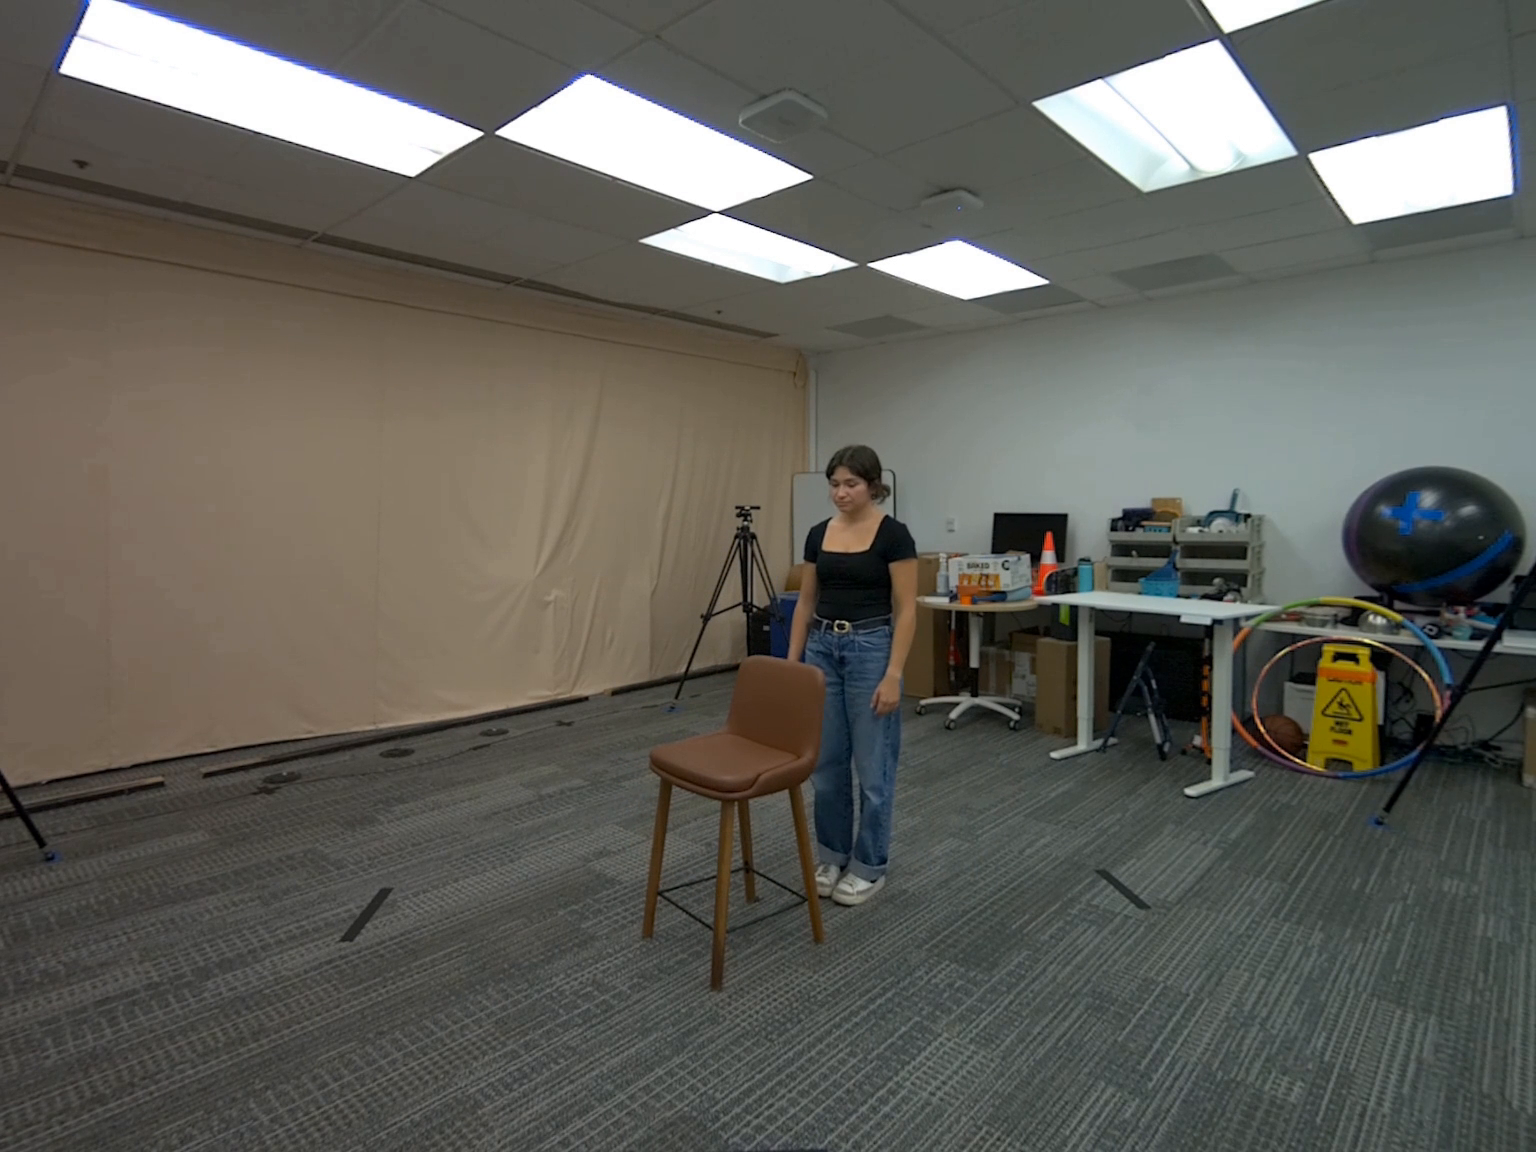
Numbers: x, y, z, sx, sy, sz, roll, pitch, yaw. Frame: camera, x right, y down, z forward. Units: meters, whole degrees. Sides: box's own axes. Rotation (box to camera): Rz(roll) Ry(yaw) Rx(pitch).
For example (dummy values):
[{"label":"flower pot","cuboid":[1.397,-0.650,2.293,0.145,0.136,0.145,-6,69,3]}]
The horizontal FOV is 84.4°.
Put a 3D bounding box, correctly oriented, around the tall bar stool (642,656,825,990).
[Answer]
[{"label":"tall bar stool","cuboid":[-0.101,0.736,2.689,0.453,0.888,0.471,-1,3,-39]}]
